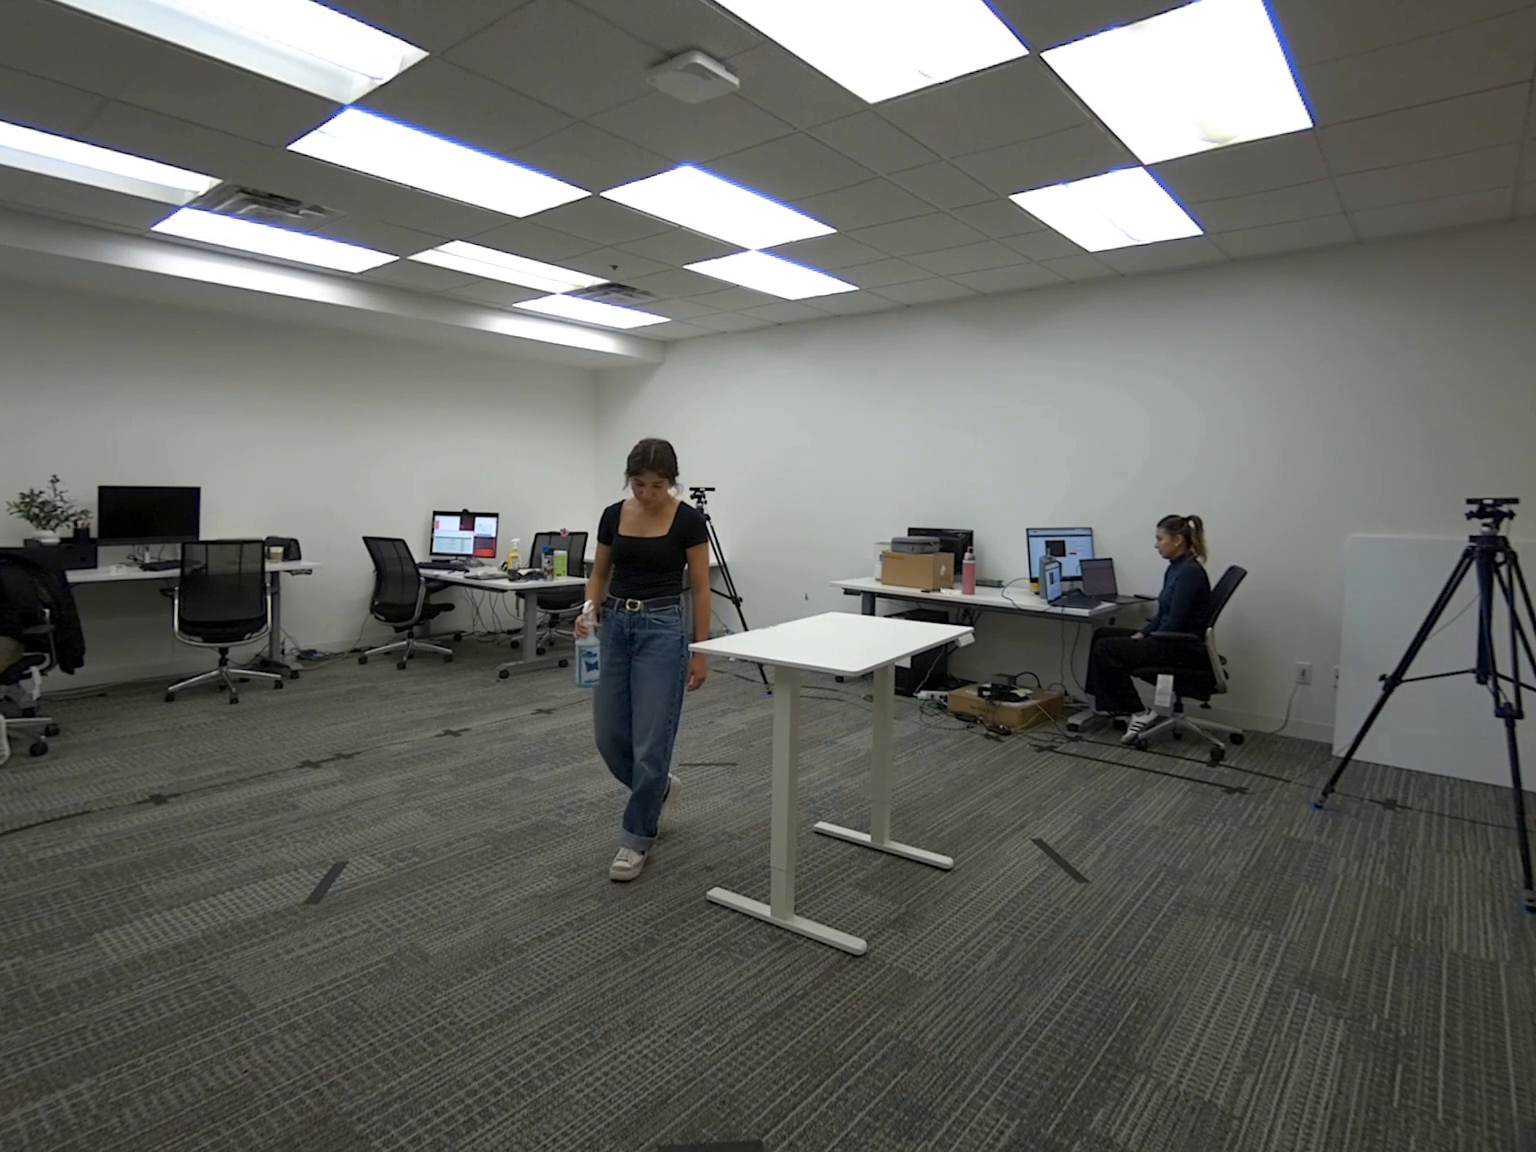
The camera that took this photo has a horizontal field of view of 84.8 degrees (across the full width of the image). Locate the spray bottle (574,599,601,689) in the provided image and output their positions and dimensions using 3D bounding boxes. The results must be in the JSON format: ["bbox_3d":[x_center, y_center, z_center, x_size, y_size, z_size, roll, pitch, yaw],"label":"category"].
[{"bbox_3d":[-0.636,0.234,2.987,0.089,0.296,0.088,6,5,23],"label":"spray bottle"}]
